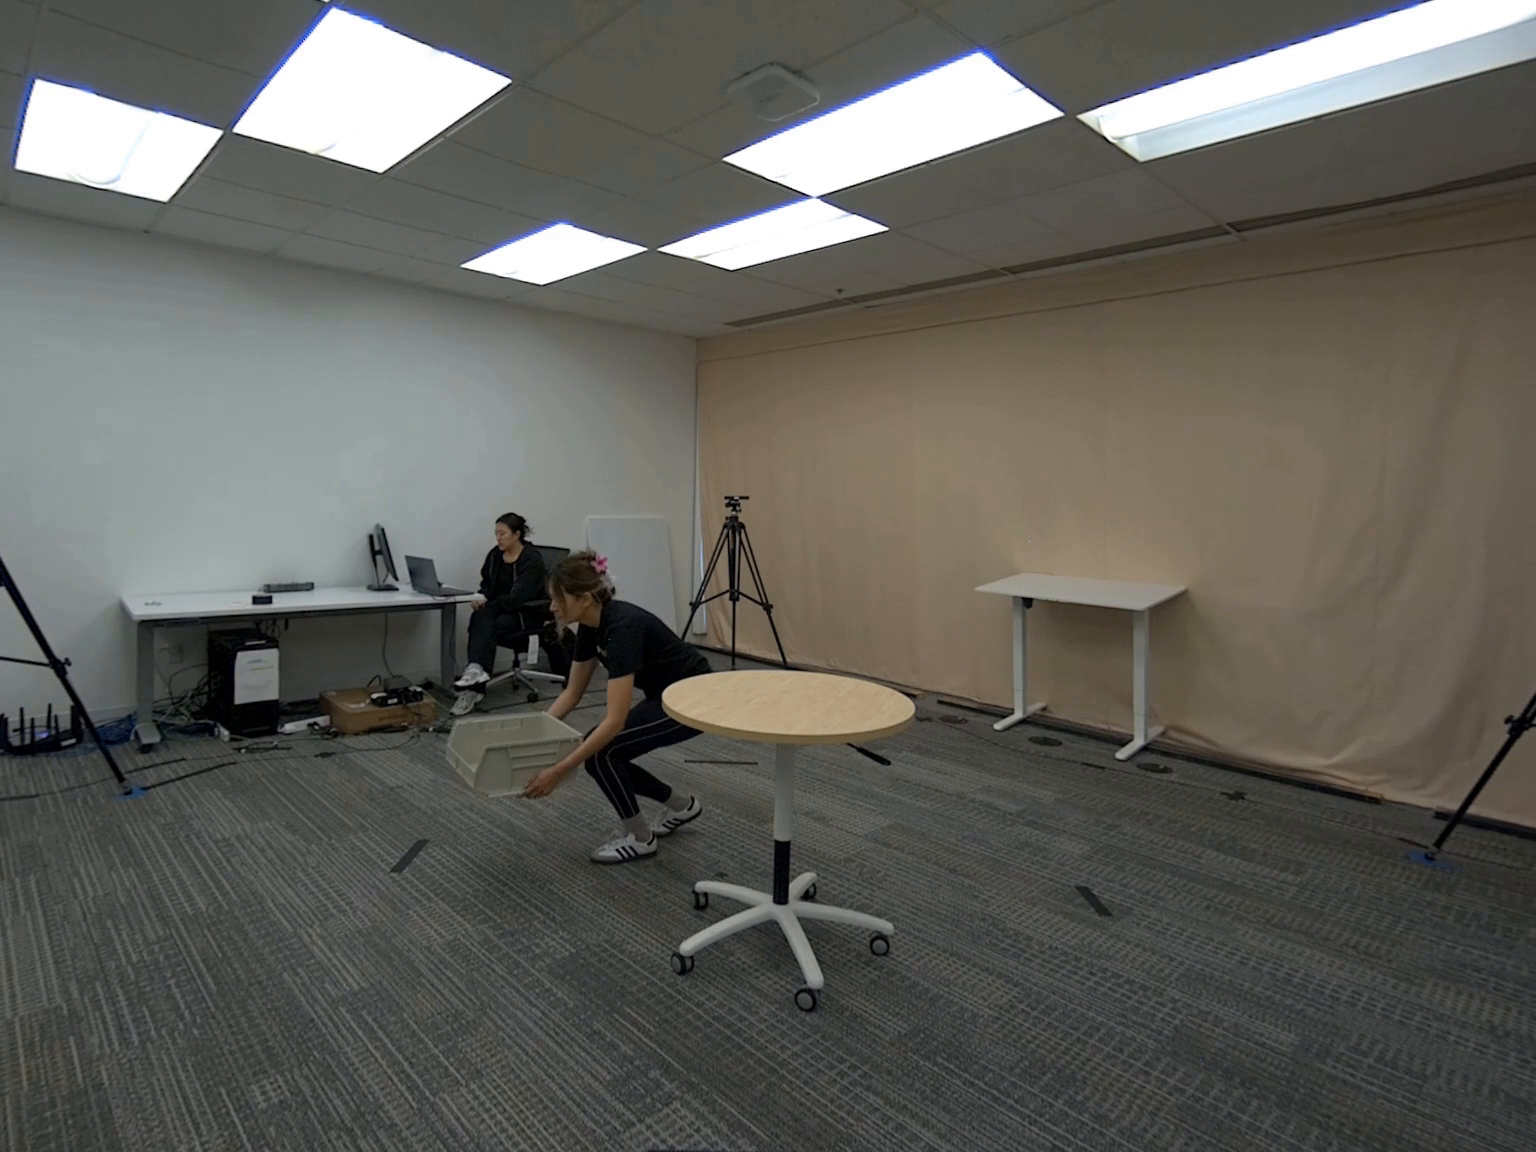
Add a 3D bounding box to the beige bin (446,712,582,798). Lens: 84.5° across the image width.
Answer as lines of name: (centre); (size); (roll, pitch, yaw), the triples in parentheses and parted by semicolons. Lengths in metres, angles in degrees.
beige bin: (-0.931, 0.639, 3.040); (0.369, 0.189, 0.432); (0, 3, -32)
